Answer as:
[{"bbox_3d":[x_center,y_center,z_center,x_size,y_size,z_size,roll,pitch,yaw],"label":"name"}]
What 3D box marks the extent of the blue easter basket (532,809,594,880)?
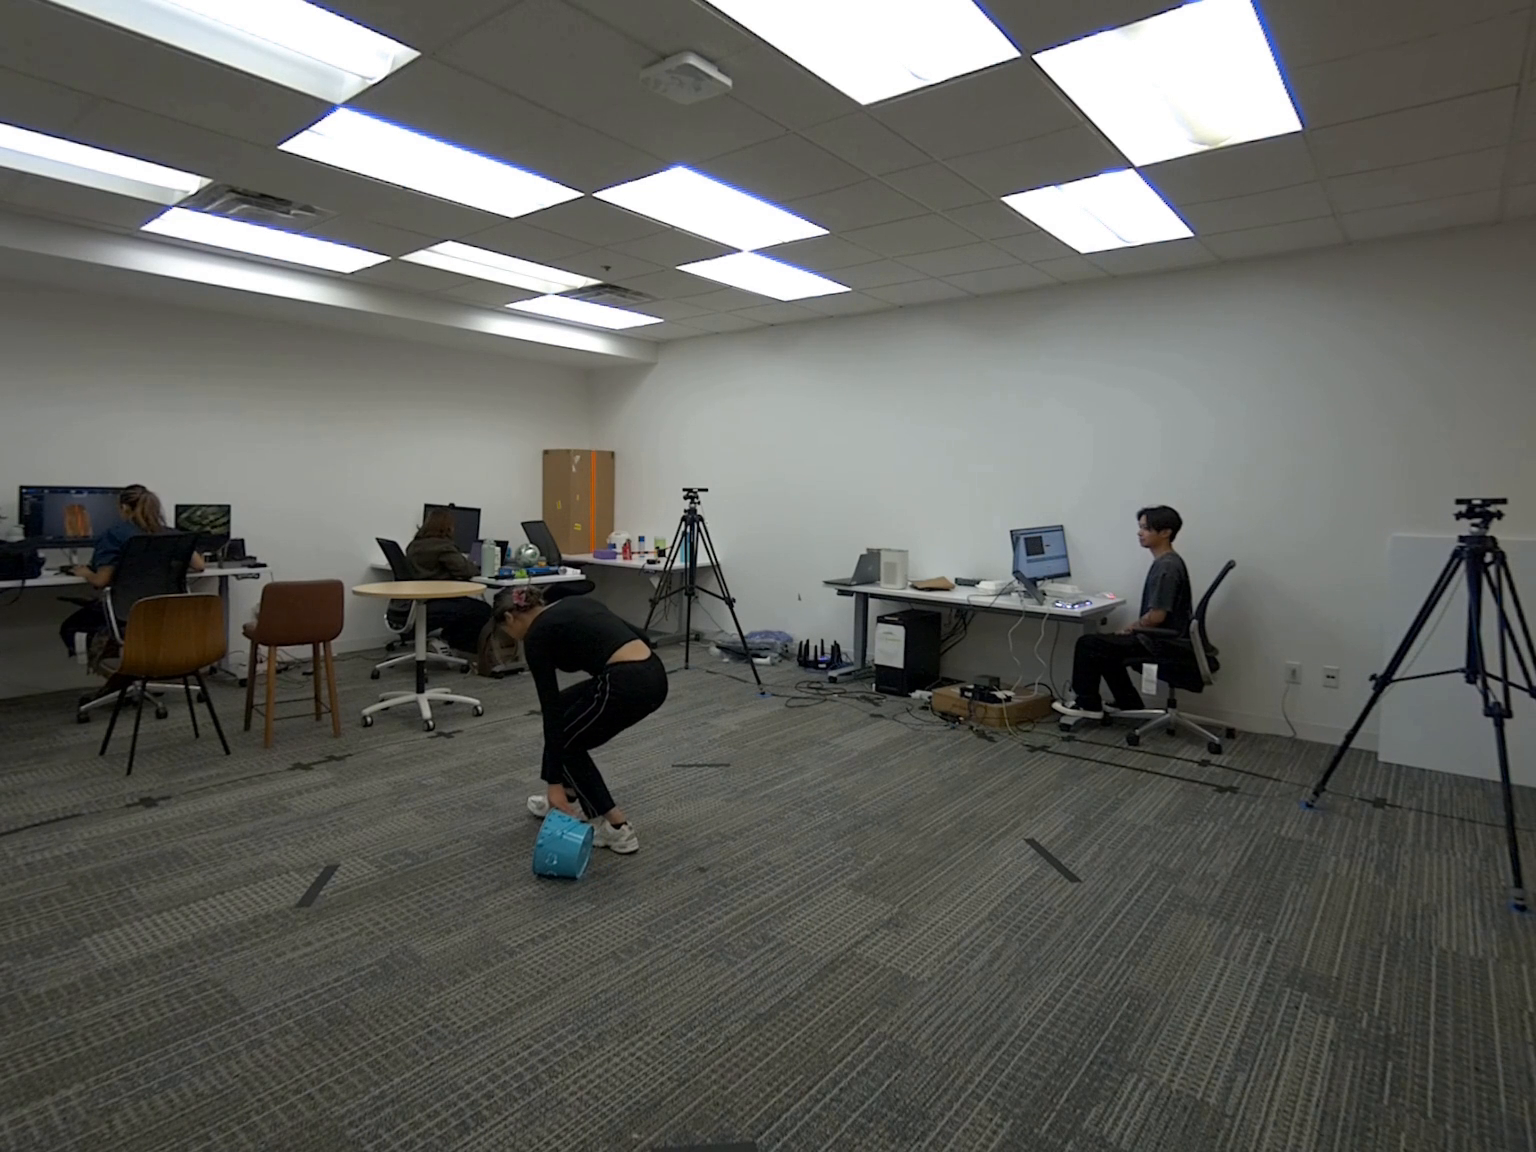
[{"bbox_3d":[-0.742,0.962,3.040,0.157,0.243,0.242,9,5,7],"label":"blue easter basket"}]
